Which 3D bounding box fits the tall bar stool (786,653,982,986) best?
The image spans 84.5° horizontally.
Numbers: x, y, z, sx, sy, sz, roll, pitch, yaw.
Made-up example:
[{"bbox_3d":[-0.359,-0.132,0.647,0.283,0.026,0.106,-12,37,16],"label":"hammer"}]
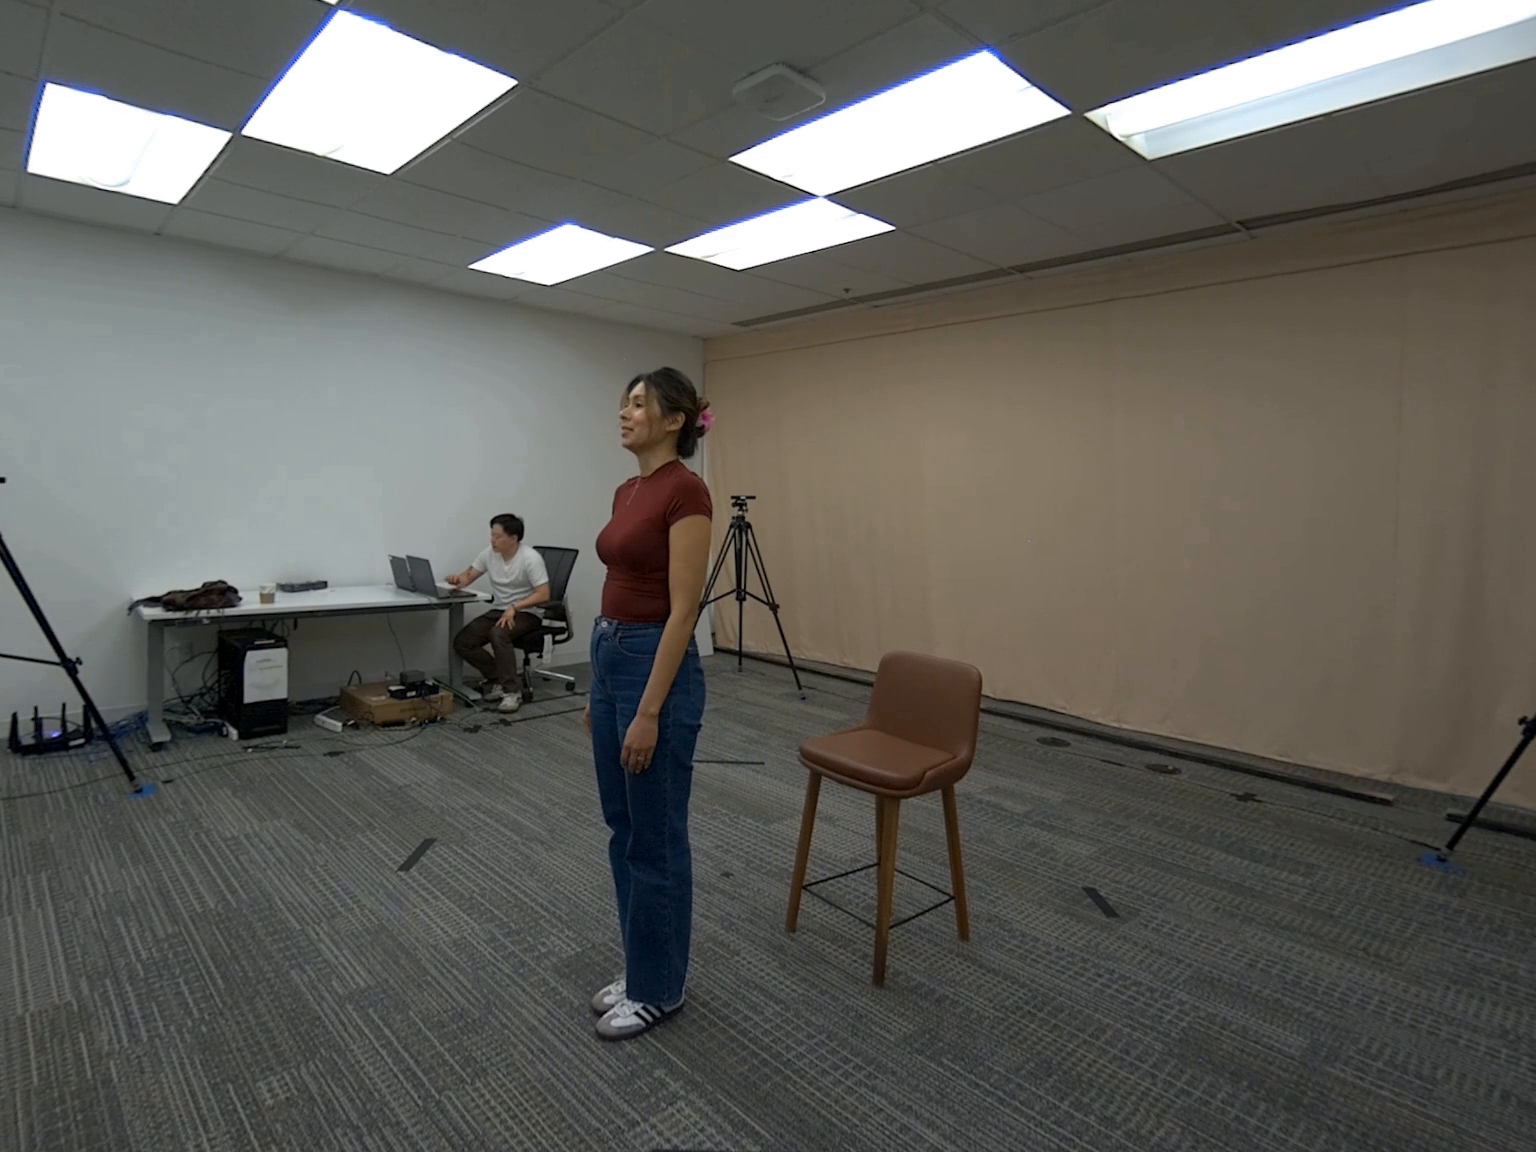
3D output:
[{"bbox_3d":[0.368,0.719,2.671,0.456,0.888,0.468,1,4,-40],"label":"tall bar stool"}]
